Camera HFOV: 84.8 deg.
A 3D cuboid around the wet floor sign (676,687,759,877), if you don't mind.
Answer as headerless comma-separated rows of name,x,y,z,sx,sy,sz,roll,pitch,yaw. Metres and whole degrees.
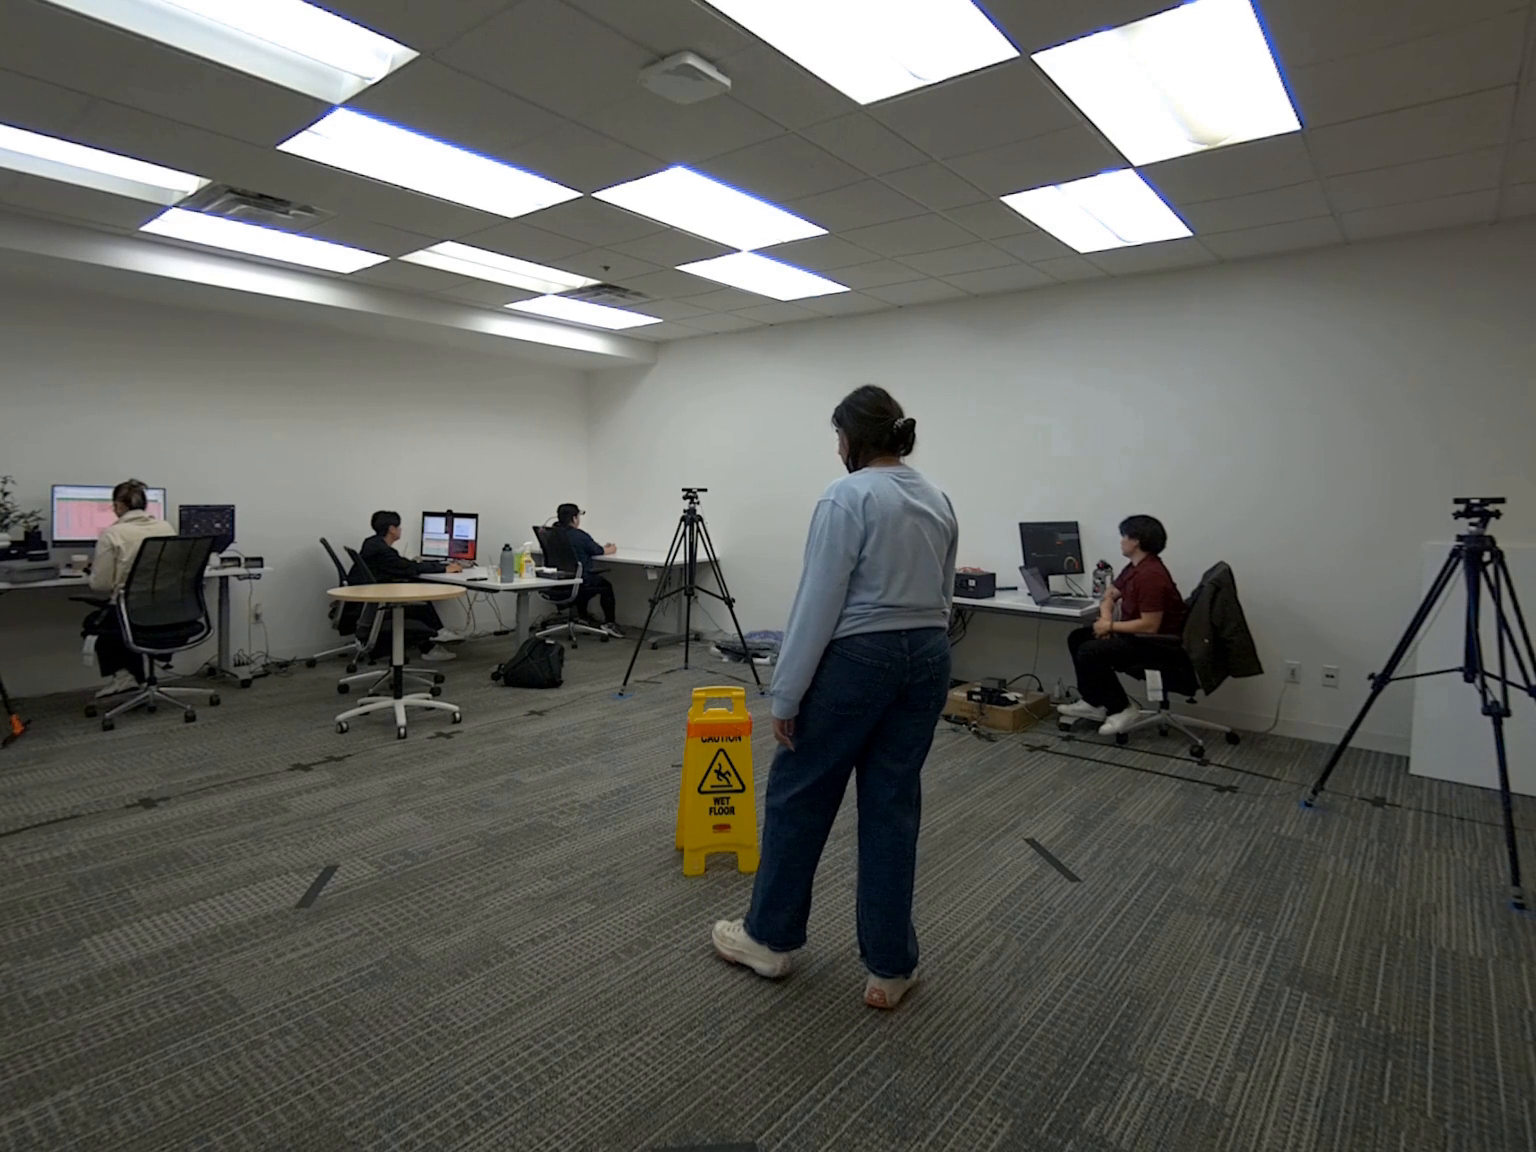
wet floor sign,-0.194,0.740,3.185,0.279,0.644,0.294,1,3,-11
